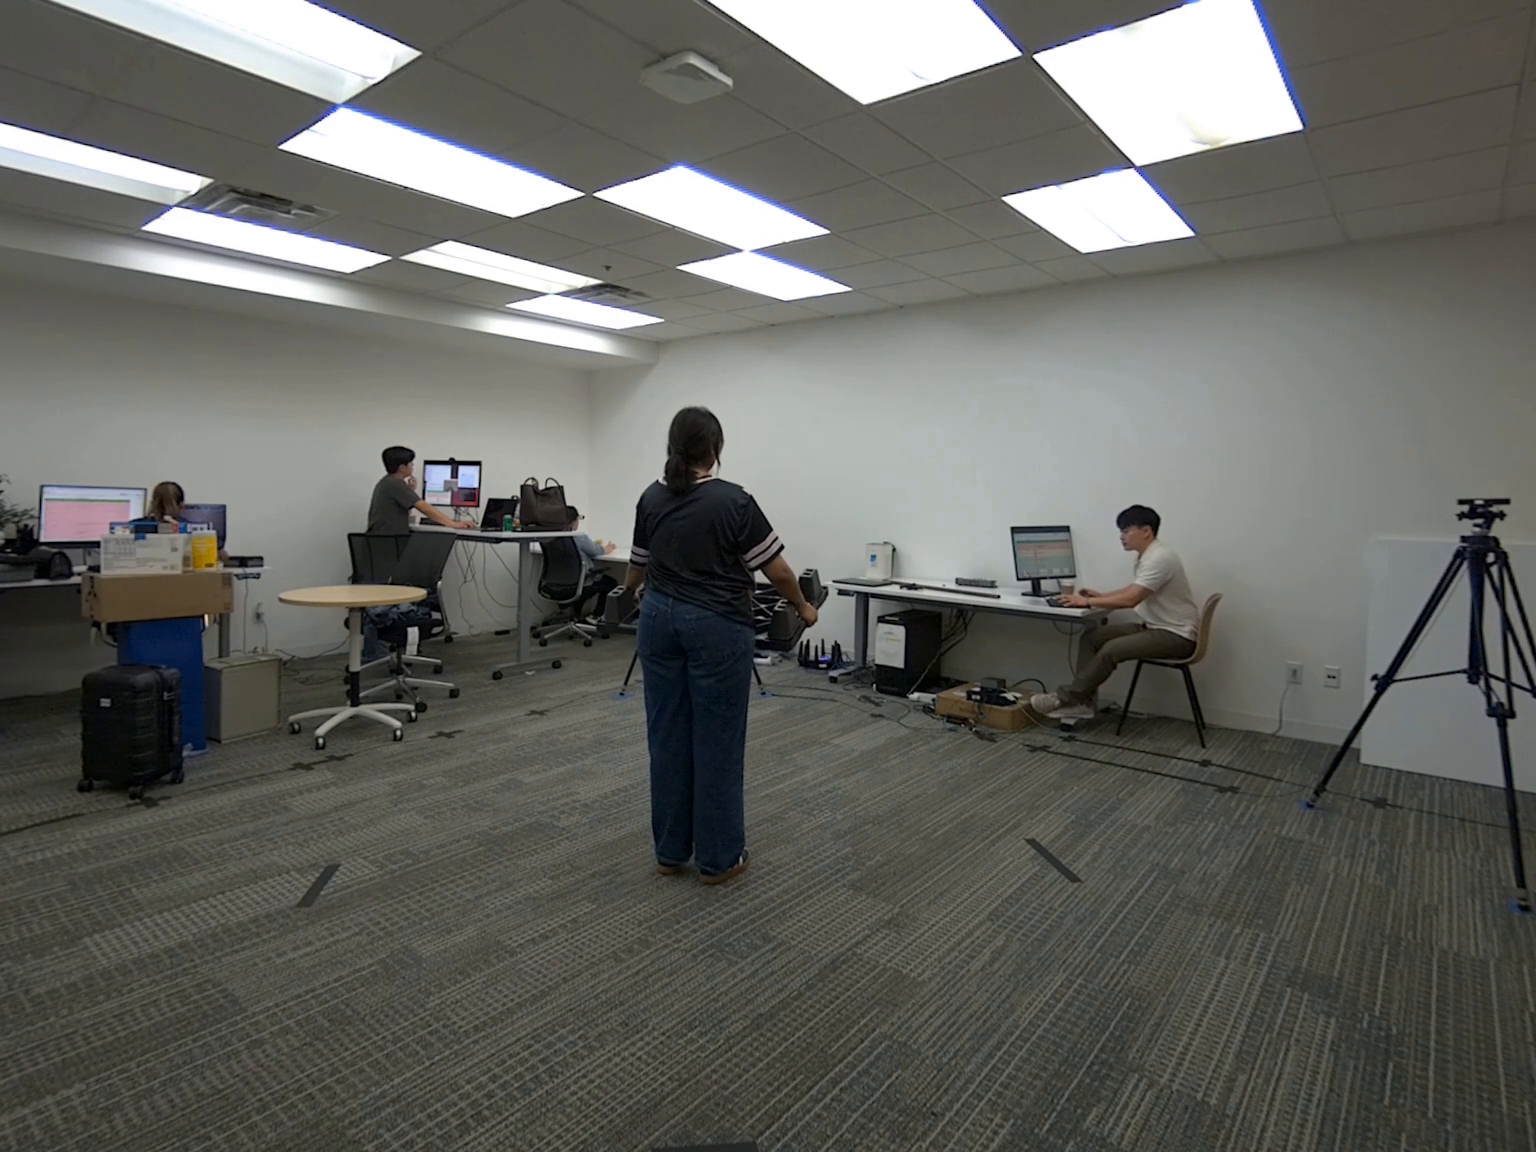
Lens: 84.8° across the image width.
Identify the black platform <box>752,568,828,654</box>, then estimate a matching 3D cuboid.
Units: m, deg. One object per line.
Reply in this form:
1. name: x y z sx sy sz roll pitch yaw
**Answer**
1. black platform: -0.217 0.081 3.439 0.823 0.141 0.604 4 21 19
